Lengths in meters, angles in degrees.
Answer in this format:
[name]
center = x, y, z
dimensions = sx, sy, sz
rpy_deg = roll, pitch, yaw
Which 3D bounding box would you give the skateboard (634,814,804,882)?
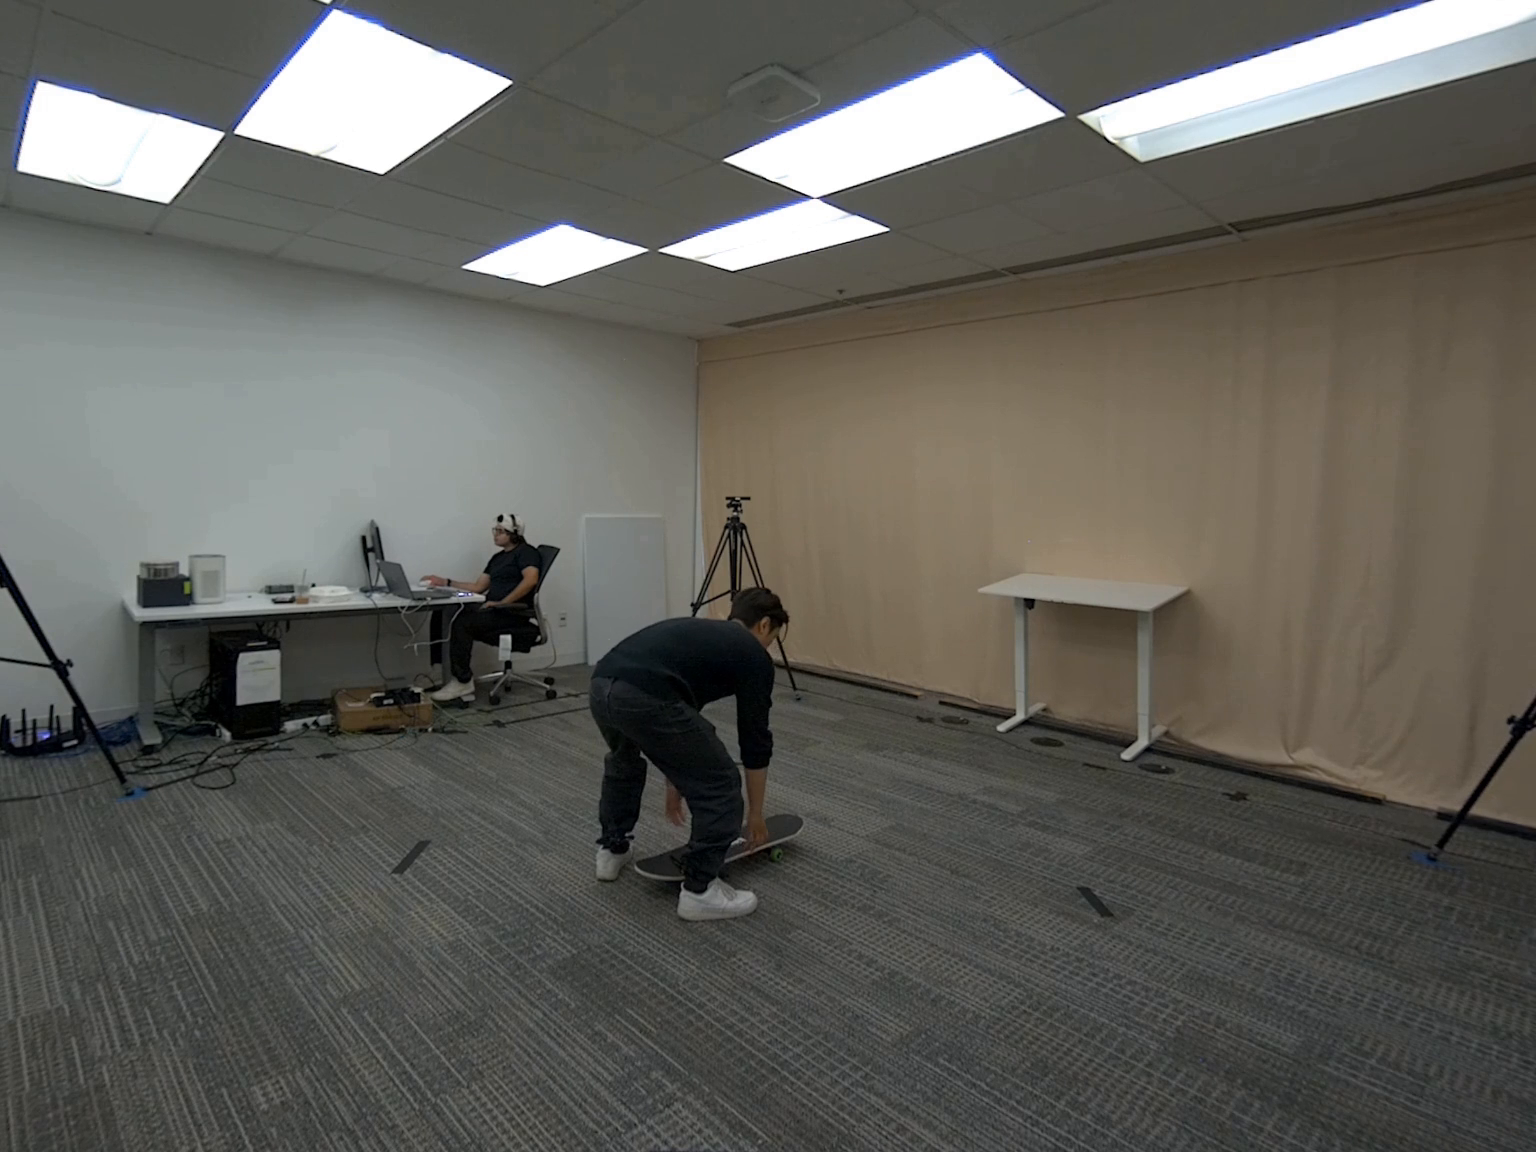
[skateboard]
center = -0.165, 1.043, 3.159
dimensions = 0.767, 0.110, 0.198
rpy_deg = -3, 6, -44
